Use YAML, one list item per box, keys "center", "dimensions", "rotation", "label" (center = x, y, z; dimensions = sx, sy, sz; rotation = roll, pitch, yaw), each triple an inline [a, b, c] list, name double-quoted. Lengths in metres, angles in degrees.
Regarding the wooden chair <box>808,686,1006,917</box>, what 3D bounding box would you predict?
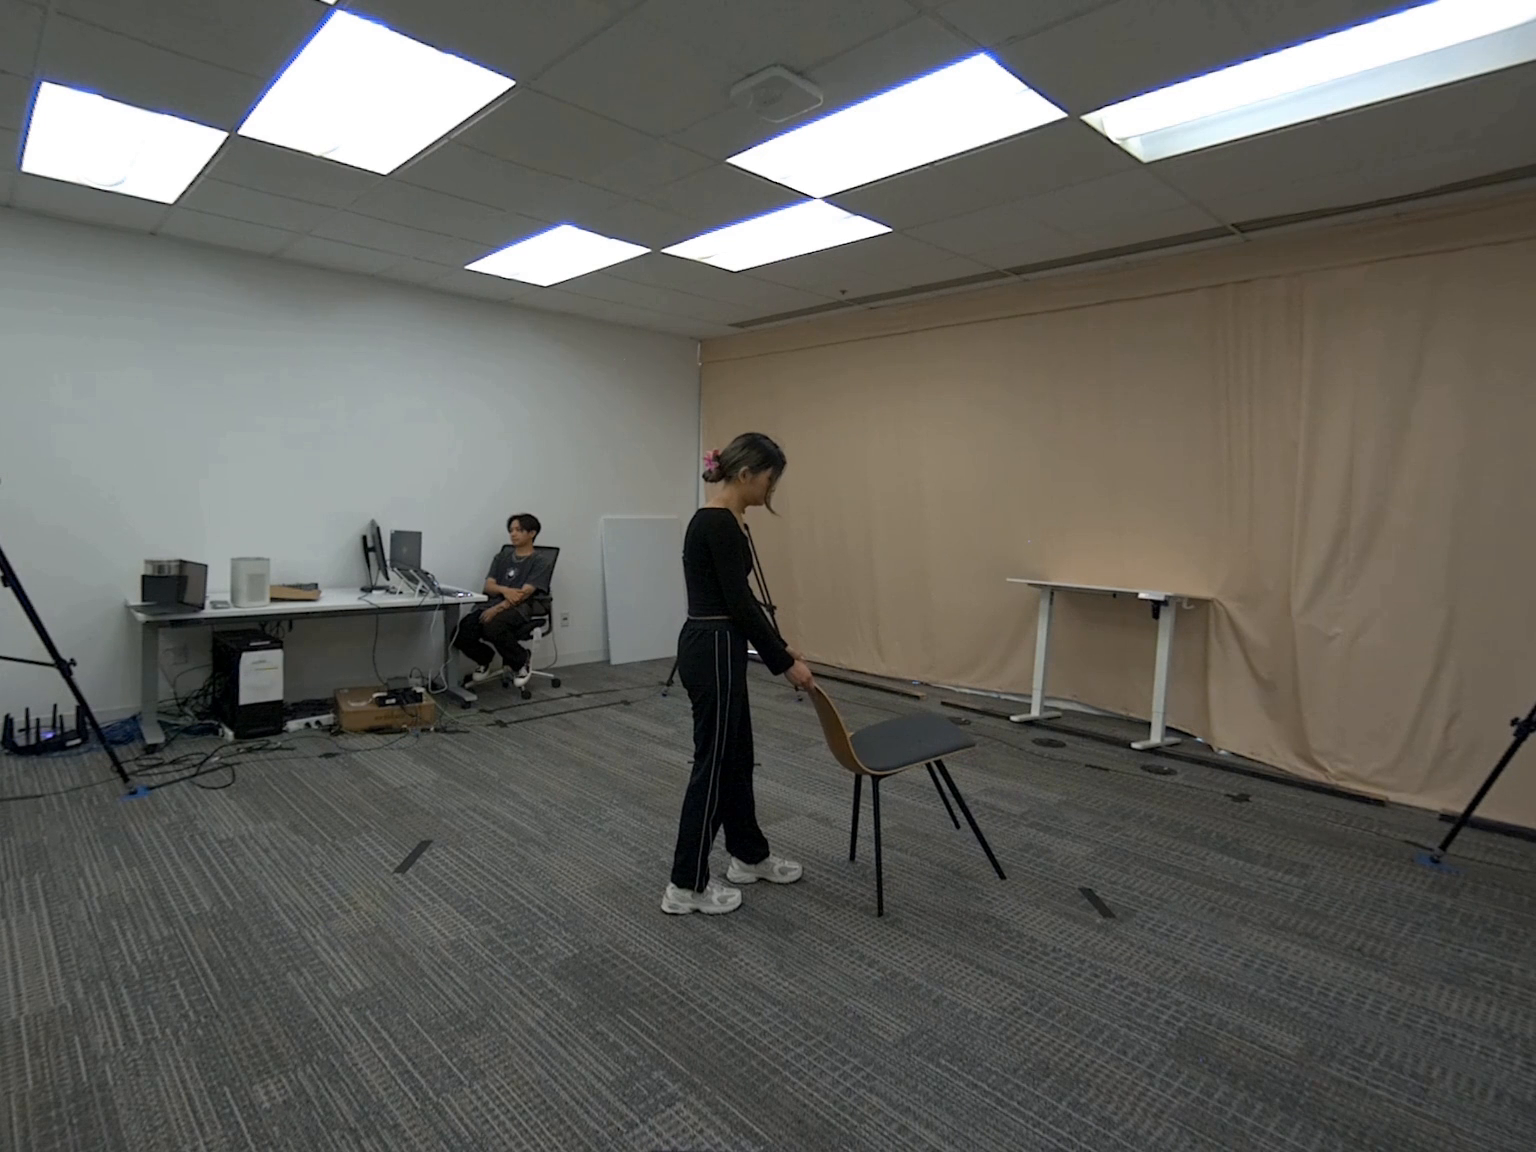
- center: [0.453, 0.653, 3.022]
  dimensions: [0.522, 0.873, 0.481]
  rotation: [-20, 5, -4]
  label: "wooden chair"
